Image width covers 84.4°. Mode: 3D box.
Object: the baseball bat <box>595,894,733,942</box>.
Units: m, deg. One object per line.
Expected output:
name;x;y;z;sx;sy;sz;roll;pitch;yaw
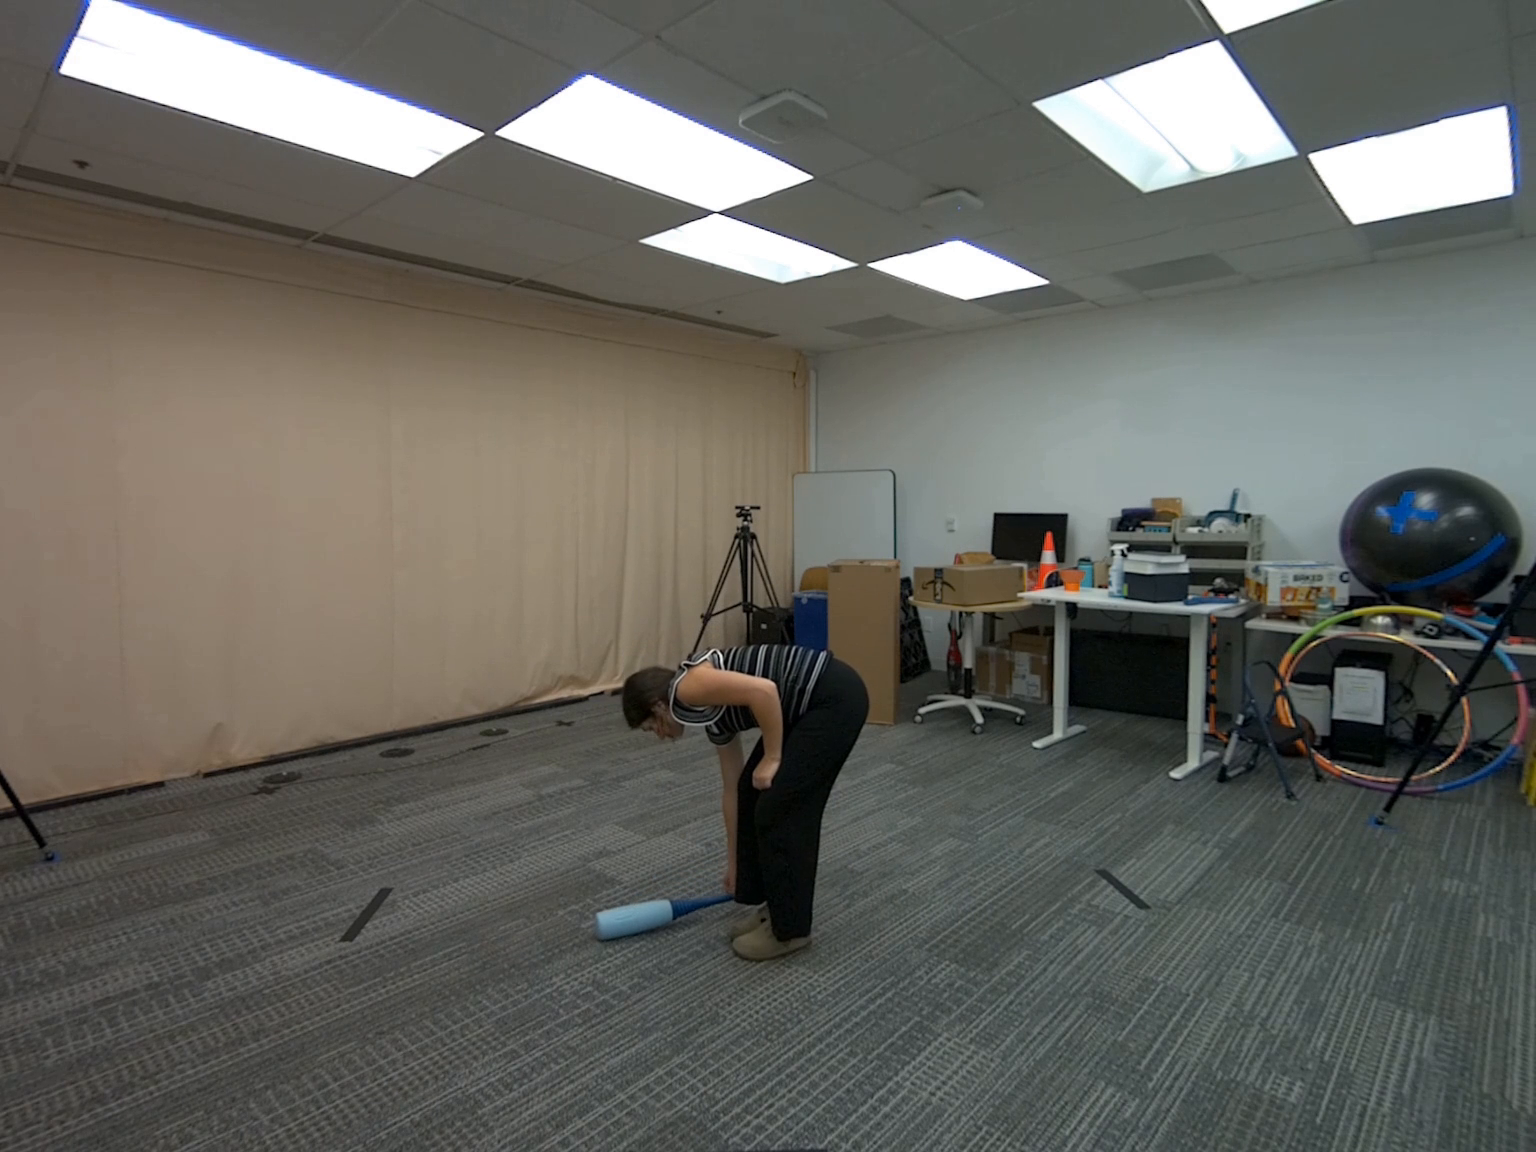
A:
baseball bat;-0.305;1.112;2.797;0.531;0.089;0.091;-3;5;-22
